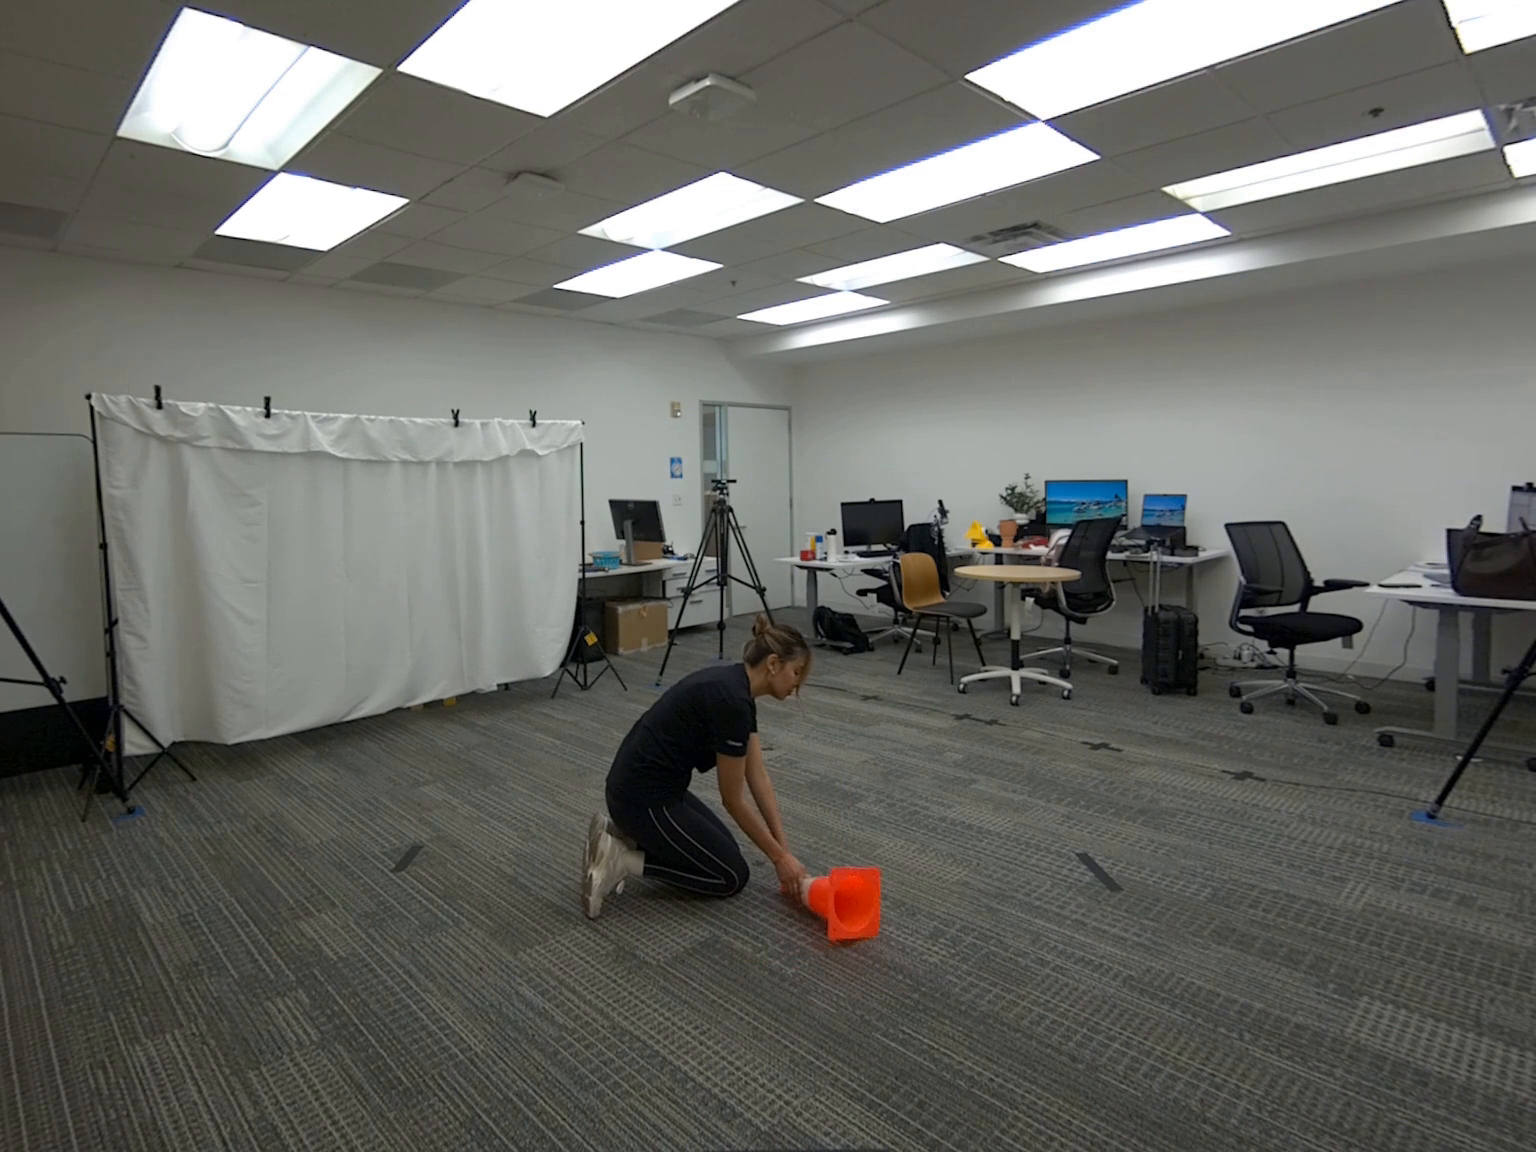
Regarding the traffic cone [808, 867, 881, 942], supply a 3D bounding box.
[{"bbox_3d":[0.160,1.011,2.738,0.197,0.207,0.391,11,-15,-32],"label":"traffic cone"}]
